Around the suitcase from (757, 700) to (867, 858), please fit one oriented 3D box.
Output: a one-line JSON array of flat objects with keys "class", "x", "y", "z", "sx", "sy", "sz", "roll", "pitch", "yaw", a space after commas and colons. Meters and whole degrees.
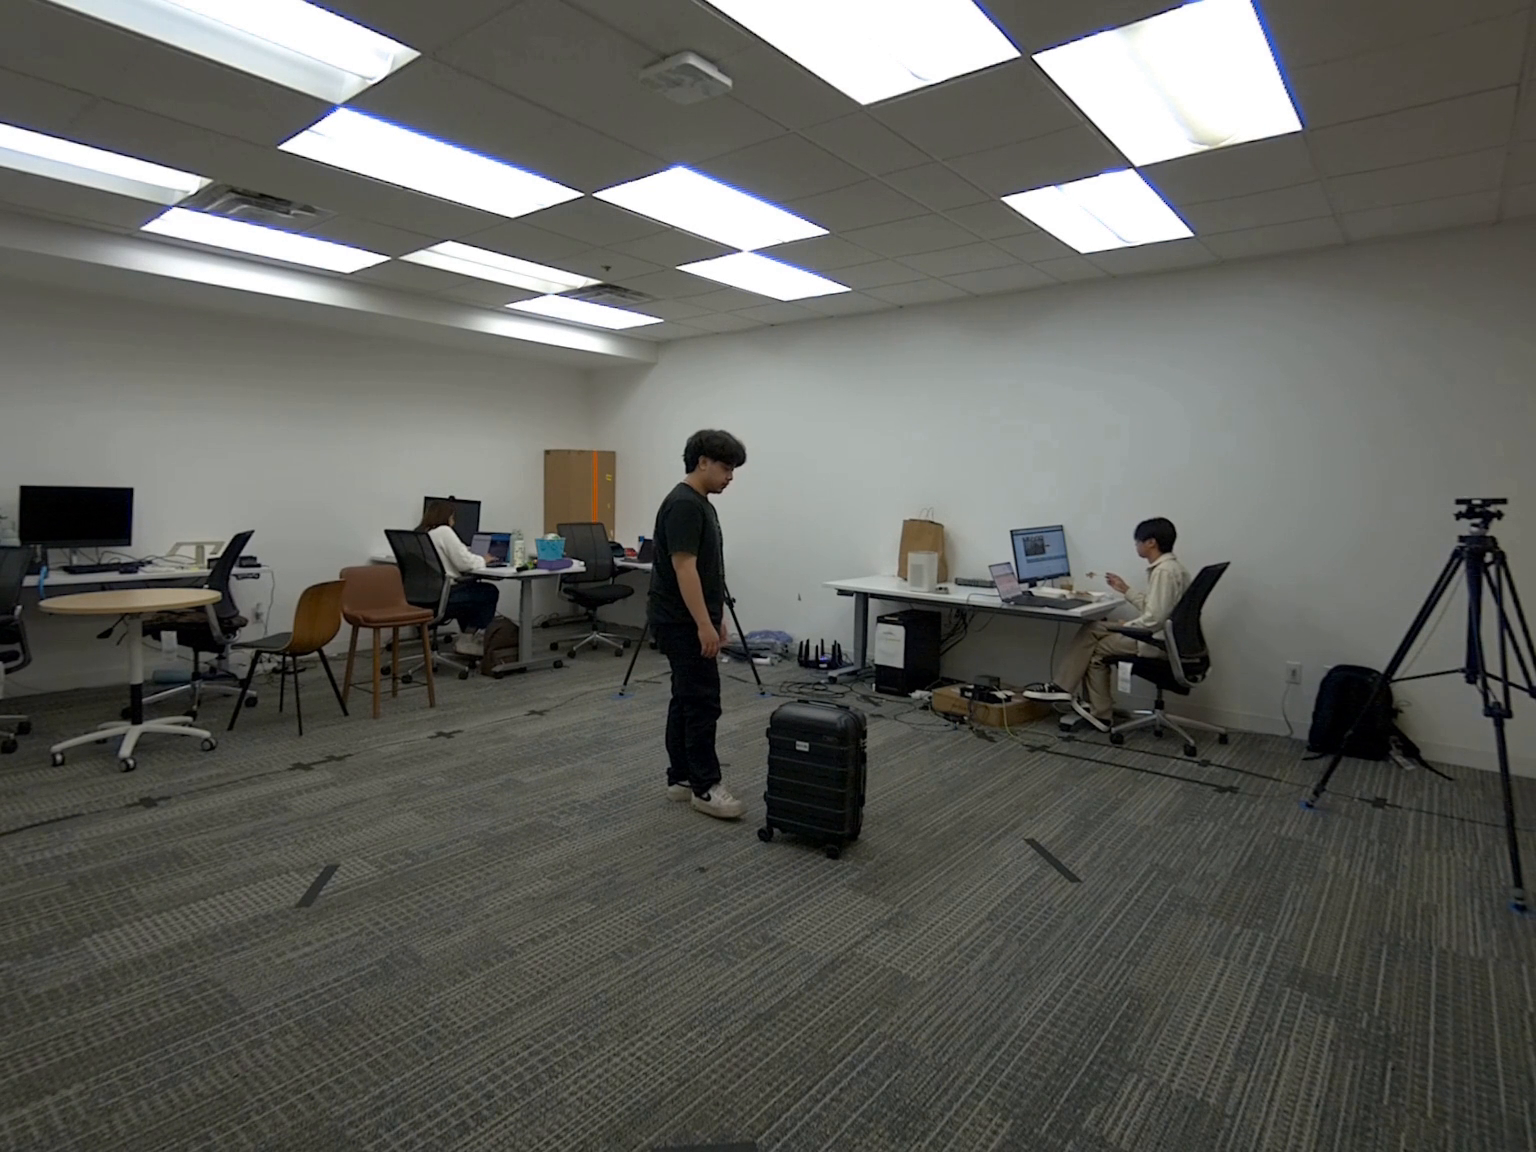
[{"class": "suitcase", "x": 0.186, "y": 0.776, "z": 3.380, "sx": 0.386, "sy": 0.547, "sz": 0.242, "roll": 5, "pitch": 5, "yaw": 27}]
